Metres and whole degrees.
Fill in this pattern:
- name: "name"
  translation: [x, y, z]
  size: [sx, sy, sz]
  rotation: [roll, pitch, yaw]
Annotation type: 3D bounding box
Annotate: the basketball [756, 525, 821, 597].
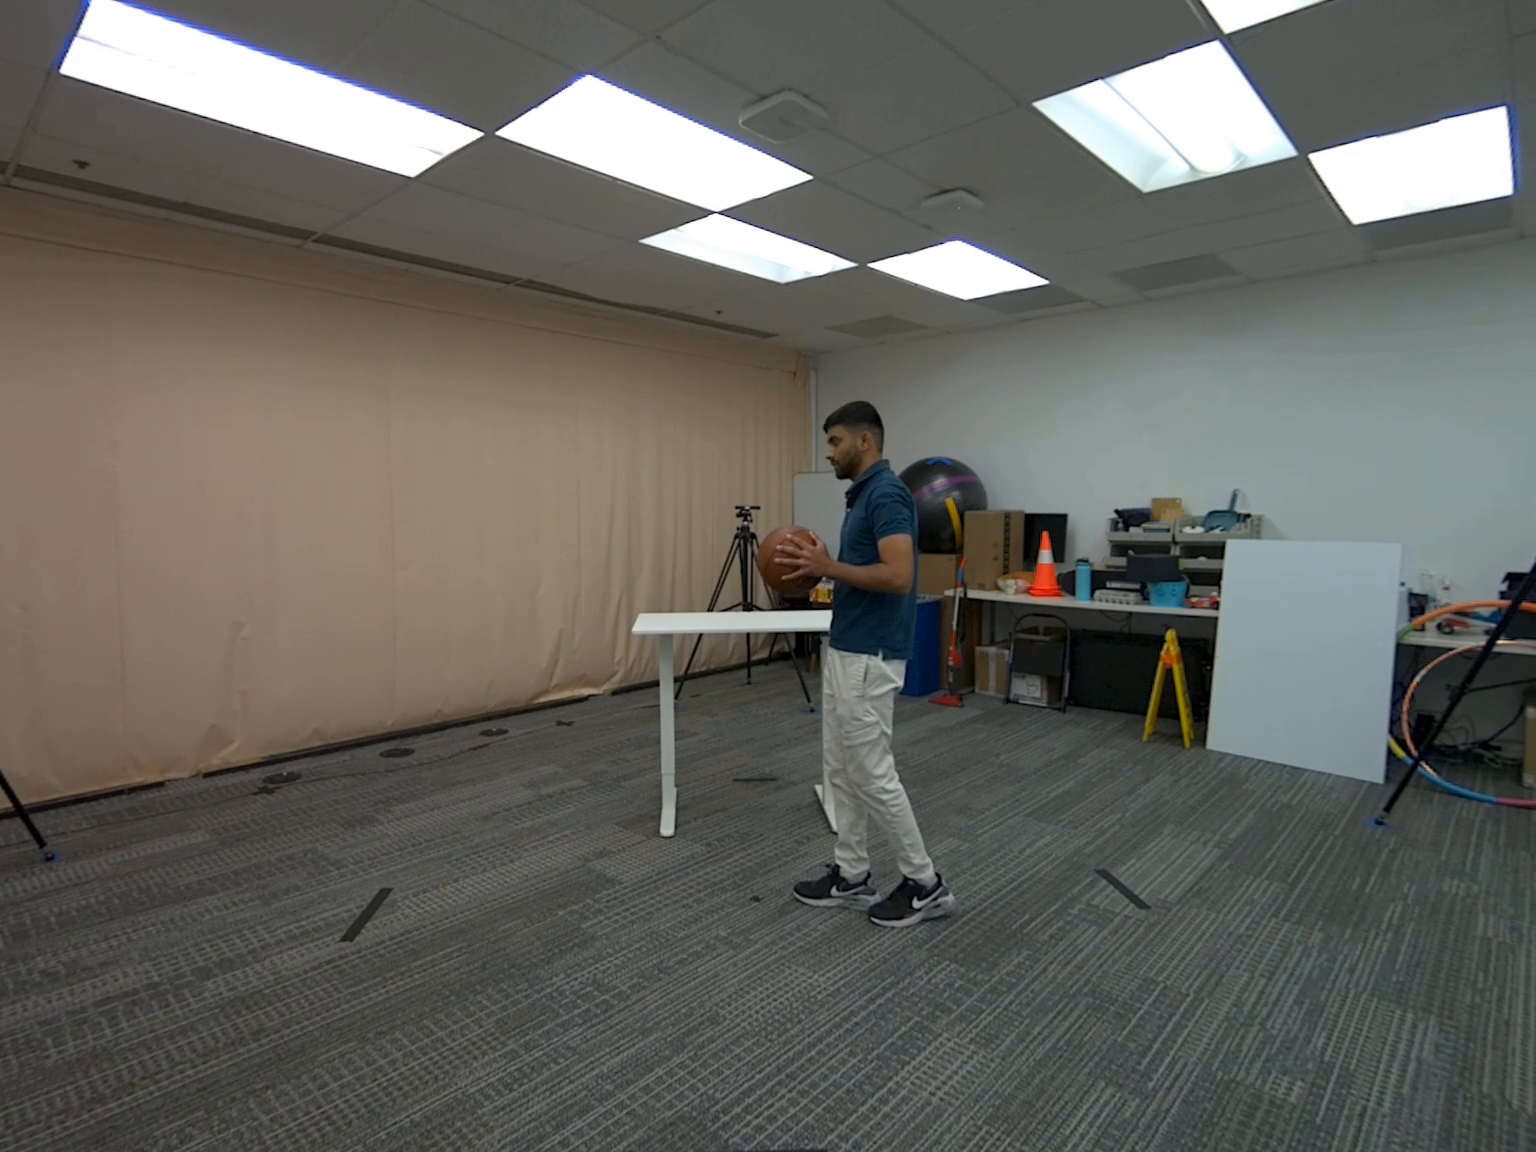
- name: "basketball"
  translation: [0.086, -0.049, 2.870]
  size: [0.236, 0.235, 0.237]
  rotation: [0, 4, -2]
